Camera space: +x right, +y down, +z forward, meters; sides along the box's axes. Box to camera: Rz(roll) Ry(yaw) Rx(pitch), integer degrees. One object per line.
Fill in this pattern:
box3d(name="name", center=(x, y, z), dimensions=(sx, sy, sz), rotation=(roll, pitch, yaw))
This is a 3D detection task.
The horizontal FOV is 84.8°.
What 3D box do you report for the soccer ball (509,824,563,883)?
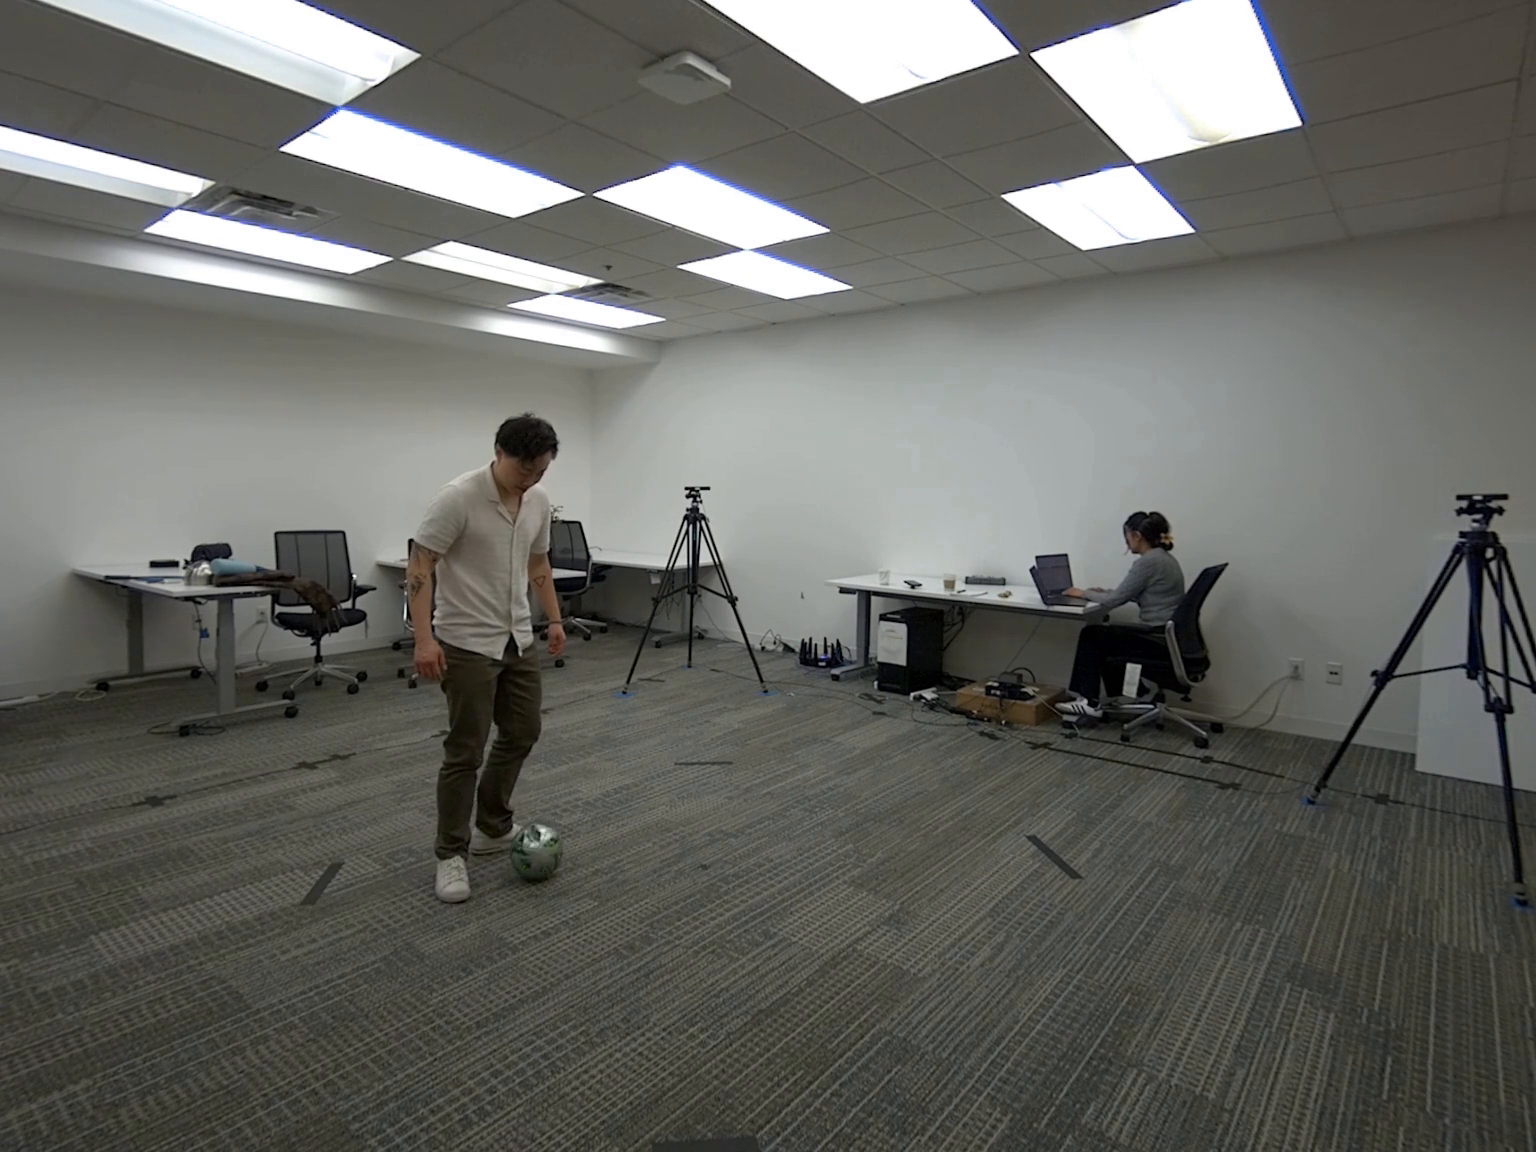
box3d(name="soccer ball", center=(-0.831, 0.976, 3.002), dimensions=(0.187, 0.187, 0.188), rotation=(0, 4, -2))
